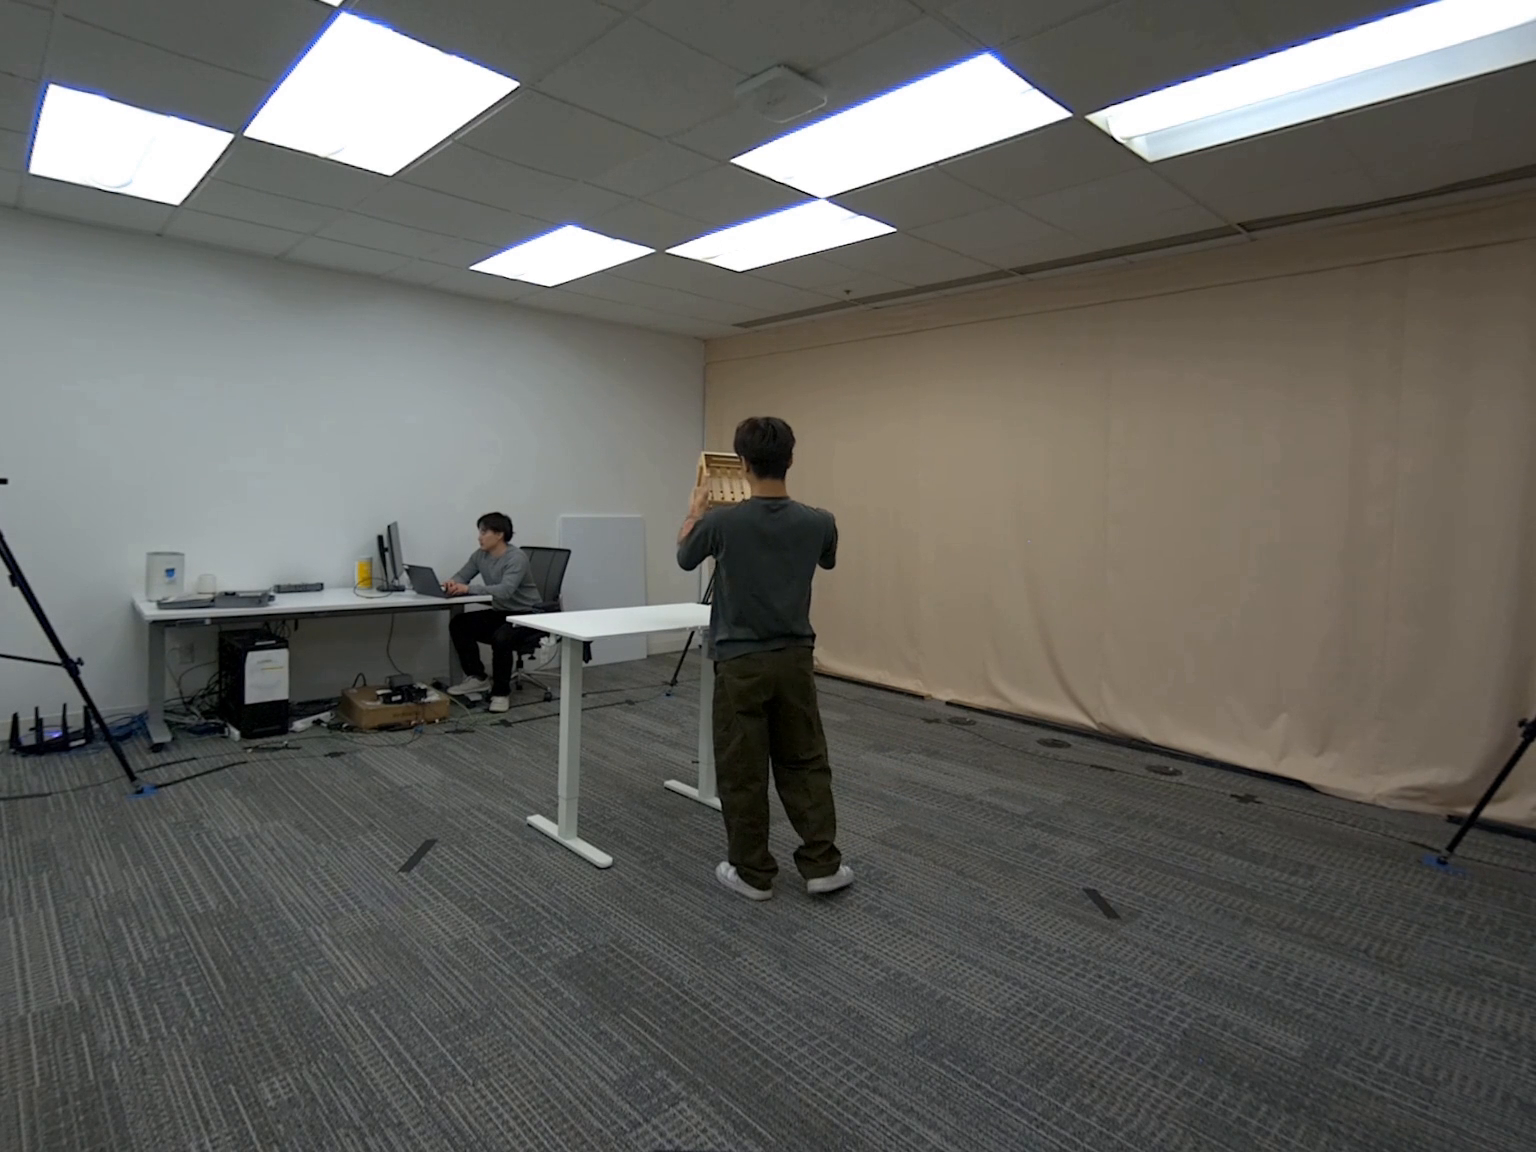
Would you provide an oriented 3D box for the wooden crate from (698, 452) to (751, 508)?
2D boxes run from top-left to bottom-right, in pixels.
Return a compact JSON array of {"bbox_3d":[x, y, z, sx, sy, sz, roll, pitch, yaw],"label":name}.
[{"bbox_3d":[-0.132,-0.284,3.337,0.320,0.309,0.271,2,-33,-17],"label":"wooden crate"}]
